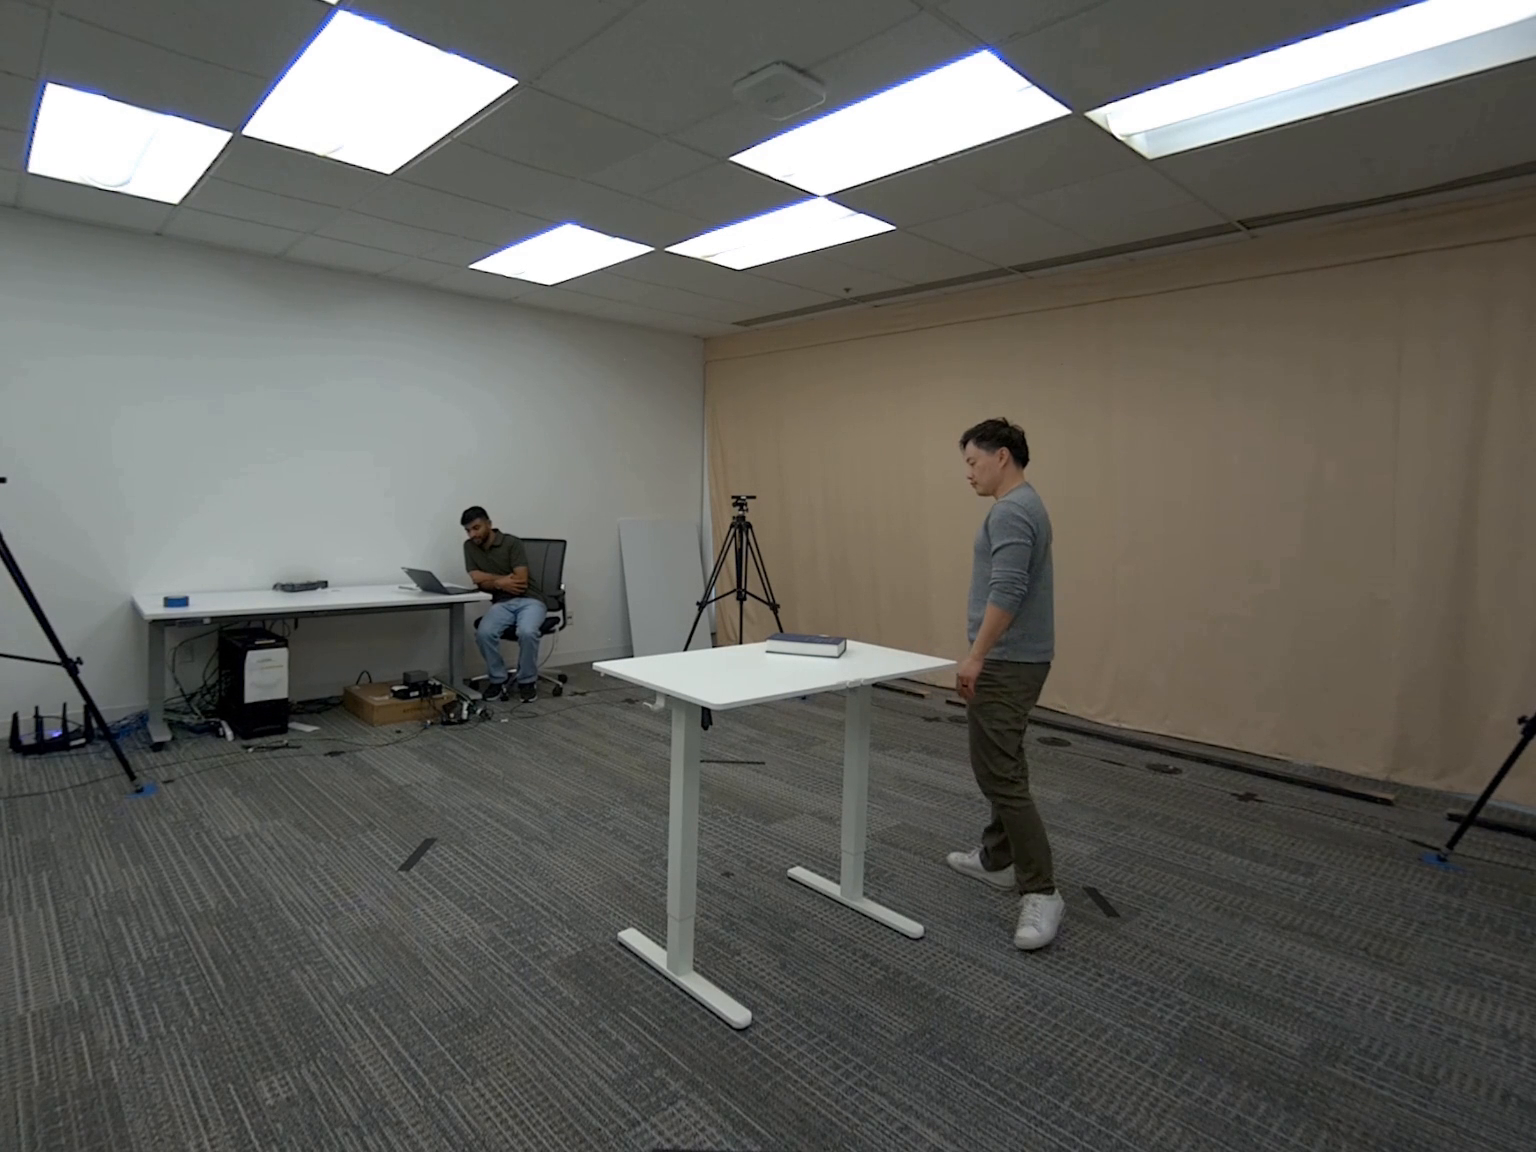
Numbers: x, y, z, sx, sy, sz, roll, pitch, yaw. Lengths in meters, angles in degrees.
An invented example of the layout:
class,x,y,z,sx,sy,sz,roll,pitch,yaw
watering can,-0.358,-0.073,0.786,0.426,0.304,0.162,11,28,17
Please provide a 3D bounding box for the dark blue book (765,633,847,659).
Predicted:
class,x,y,z,sx,sy,sz,roll,pitch,yaw
dark blue book,0.128,0.231,2.823,0.249,0.045,0.161,3,5,17
